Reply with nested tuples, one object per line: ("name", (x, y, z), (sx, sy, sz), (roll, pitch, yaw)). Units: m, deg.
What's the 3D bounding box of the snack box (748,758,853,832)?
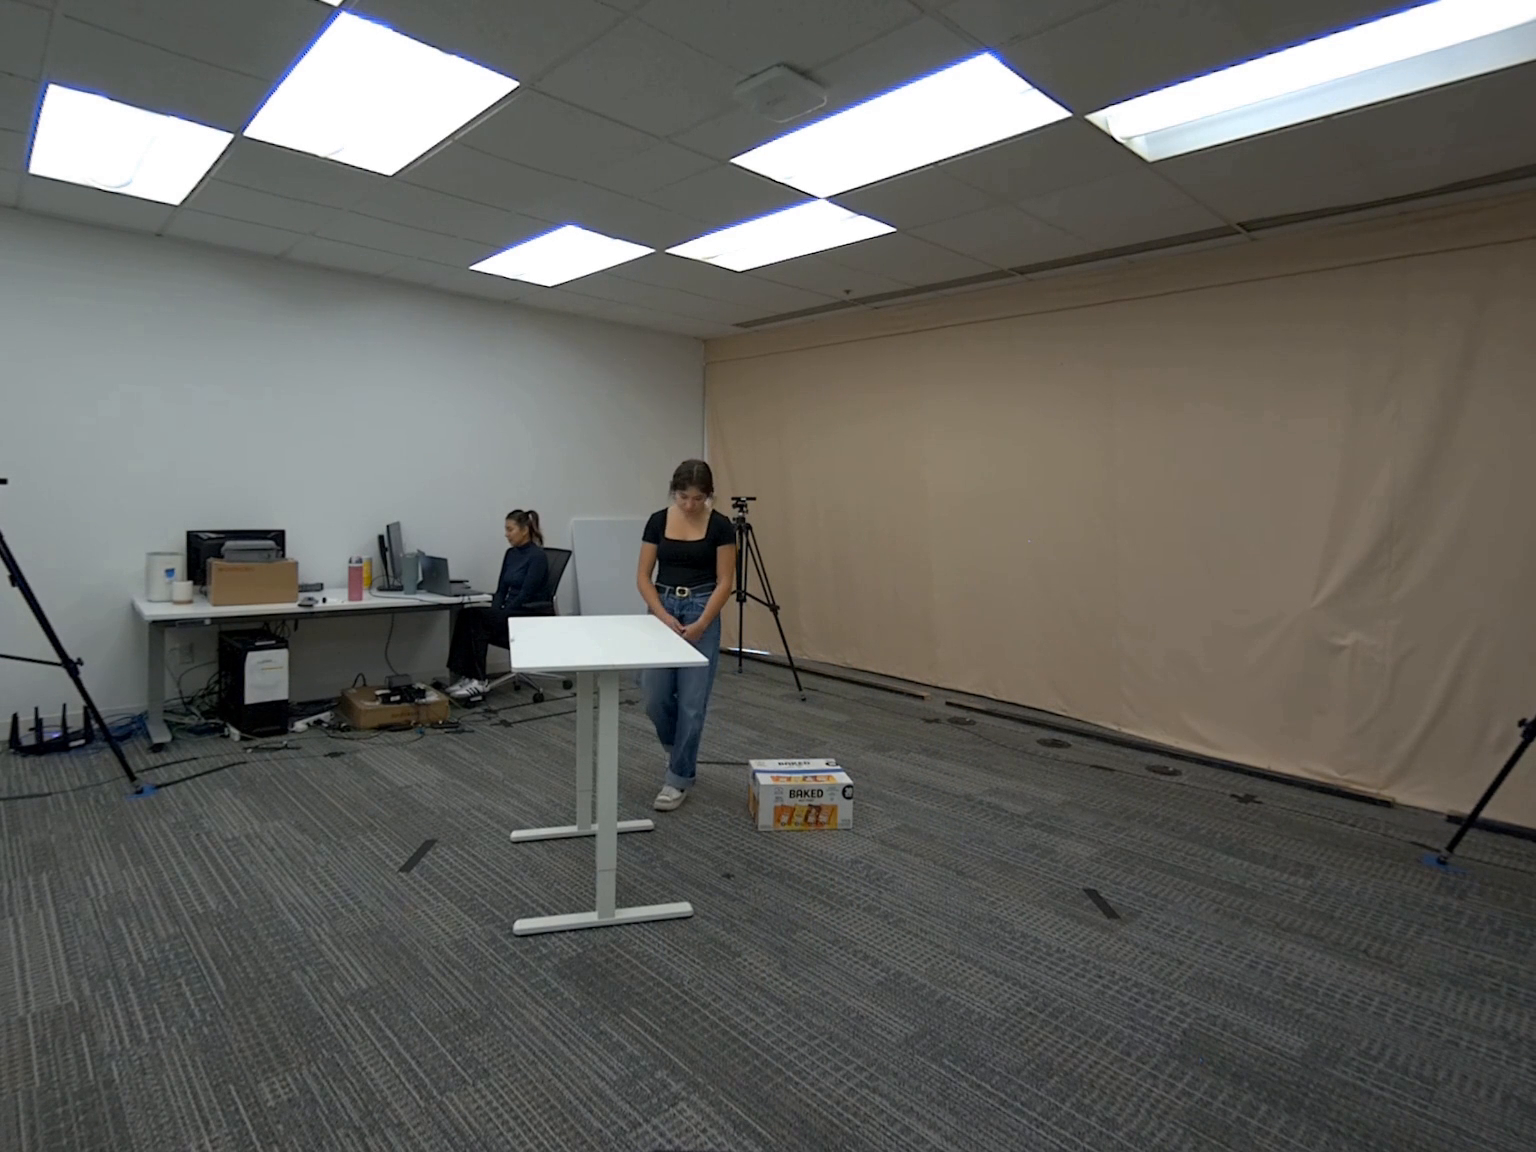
("snack box", (0.125, 0.960, 3.717), (0.402, 0.205, 0.343), (1, 4, -9))
